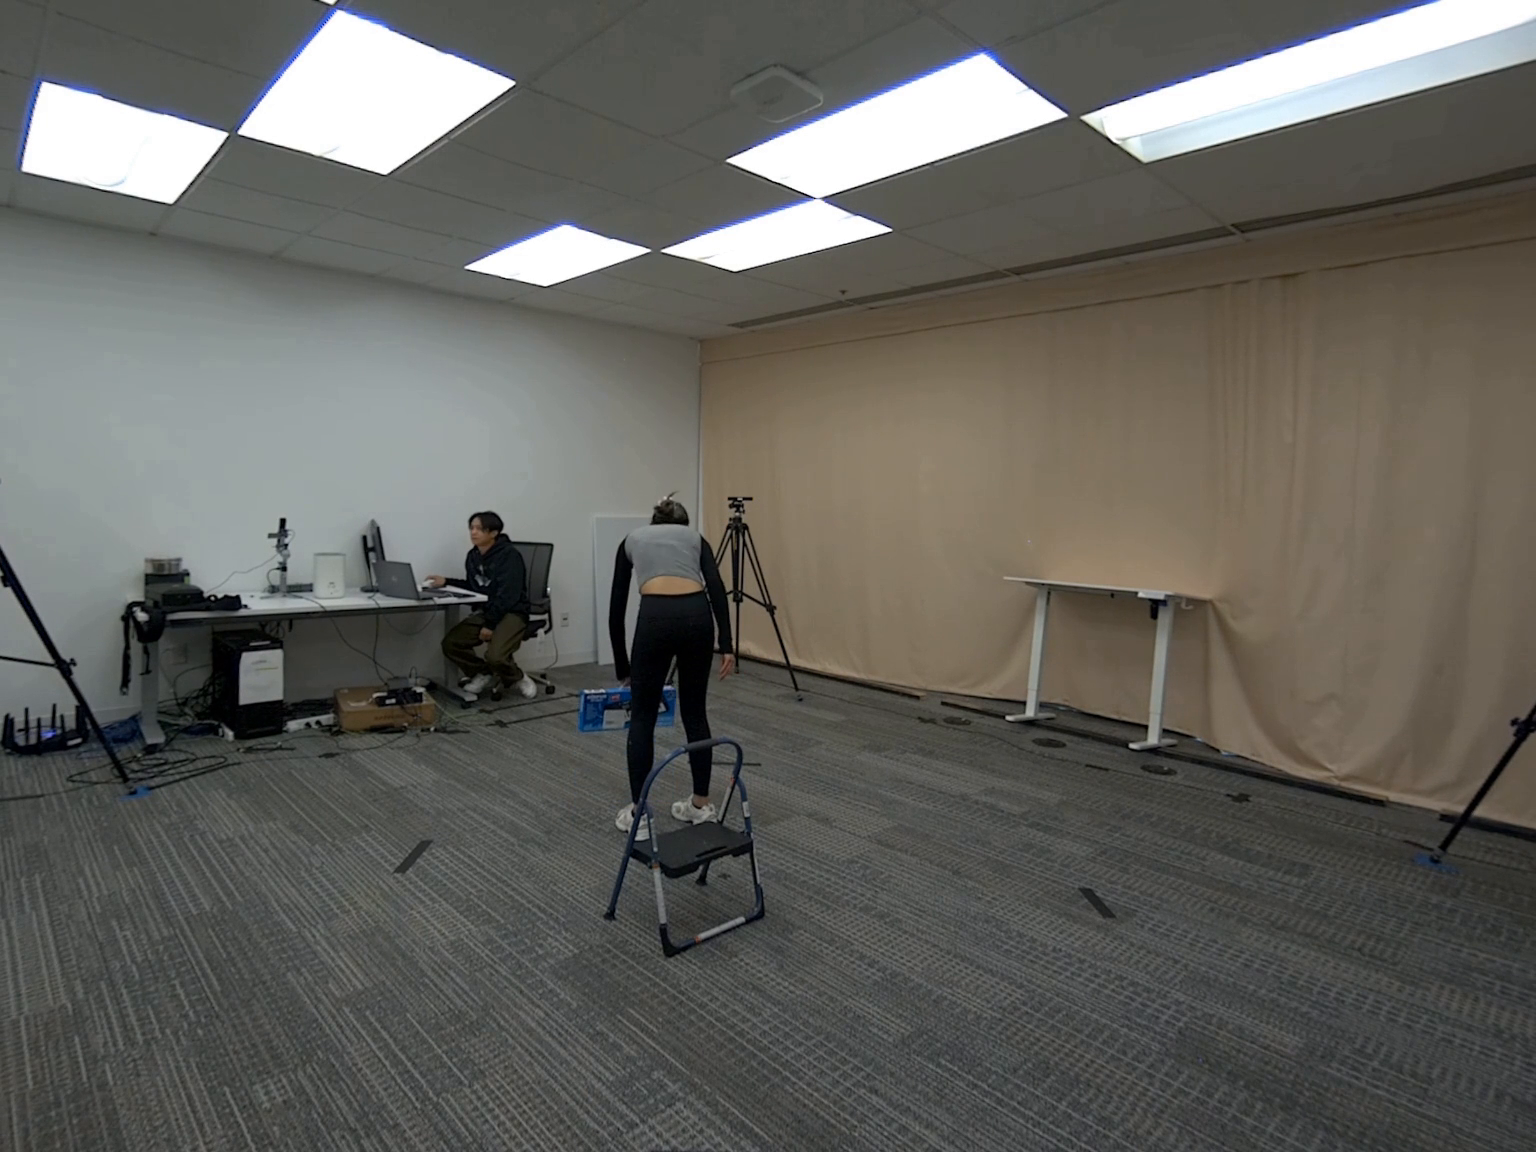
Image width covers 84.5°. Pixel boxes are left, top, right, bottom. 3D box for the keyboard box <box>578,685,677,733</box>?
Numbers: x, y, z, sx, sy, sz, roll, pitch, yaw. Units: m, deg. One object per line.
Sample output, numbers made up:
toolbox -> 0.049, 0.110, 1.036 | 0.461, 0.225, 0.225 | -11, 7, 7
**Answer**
keyboard box -> -0.630, 0.593, 3.751 | 0.428, 0.175, 0.060 | 2, 5, -29
